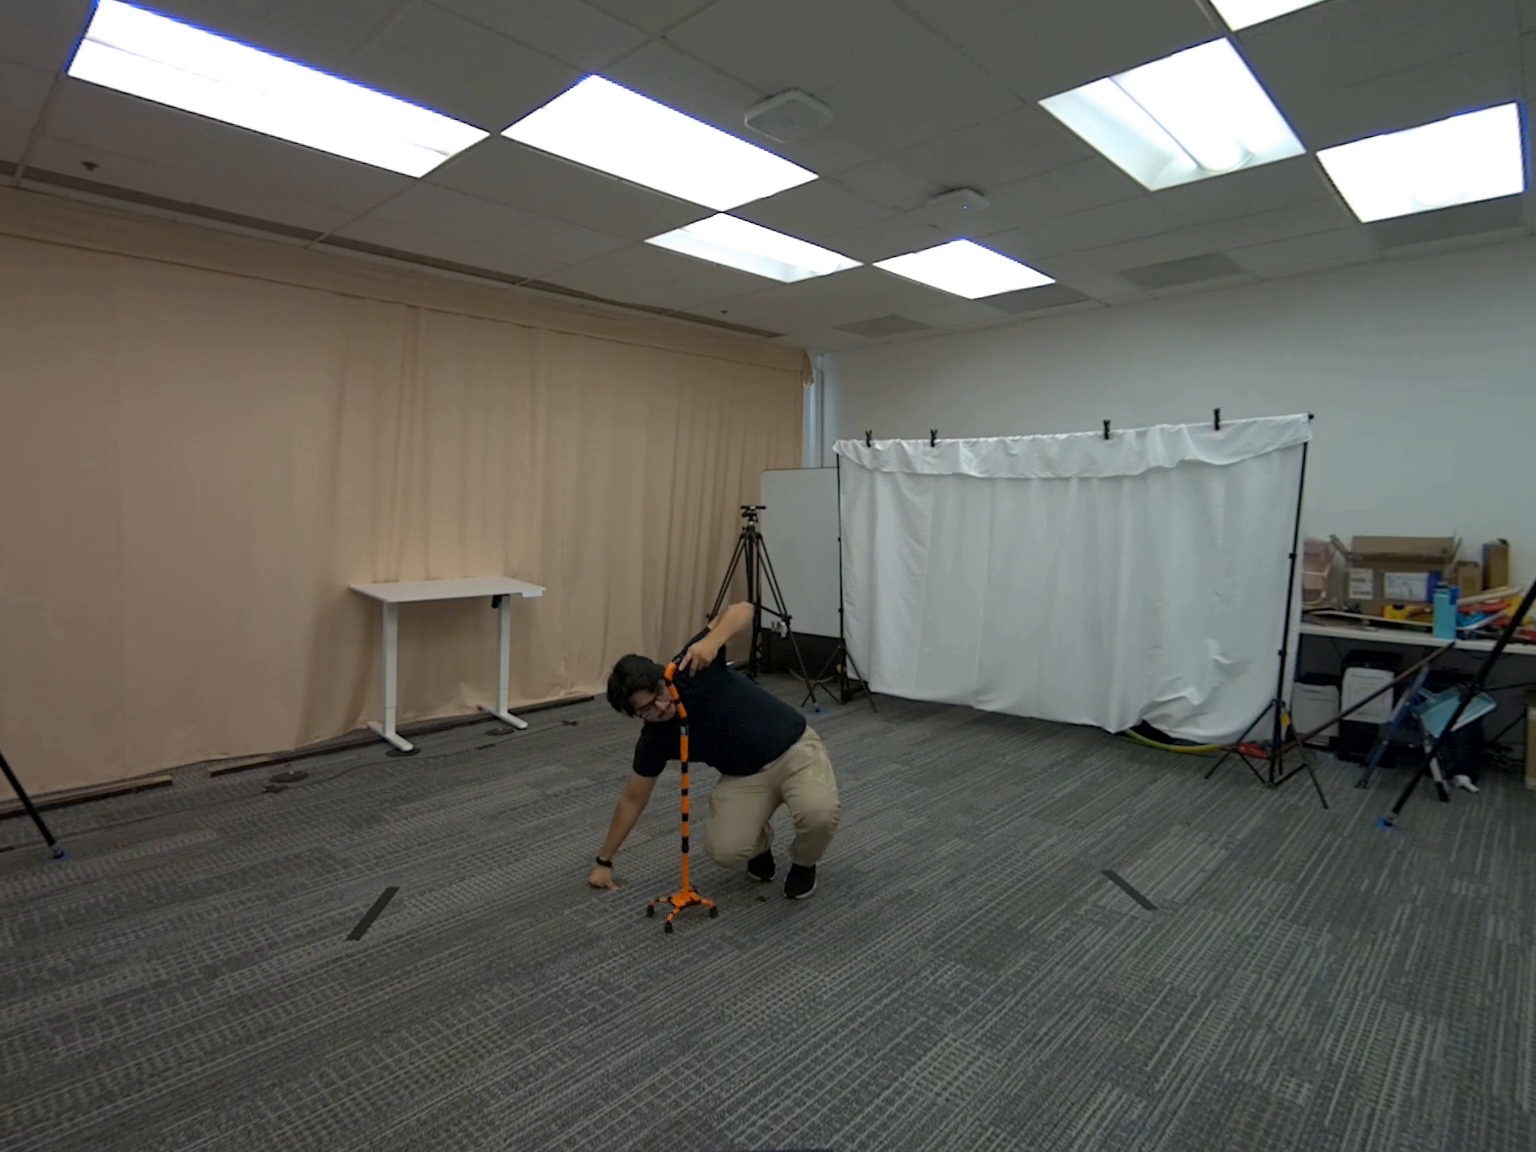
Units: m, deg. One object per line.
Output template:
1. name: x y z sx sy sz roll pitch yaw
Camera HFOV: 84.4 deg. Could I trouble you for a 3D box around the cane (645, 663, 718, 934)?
1. cane: -0.284 0.705 2.783 0.200 0.902 0.157 -6 12 -36
